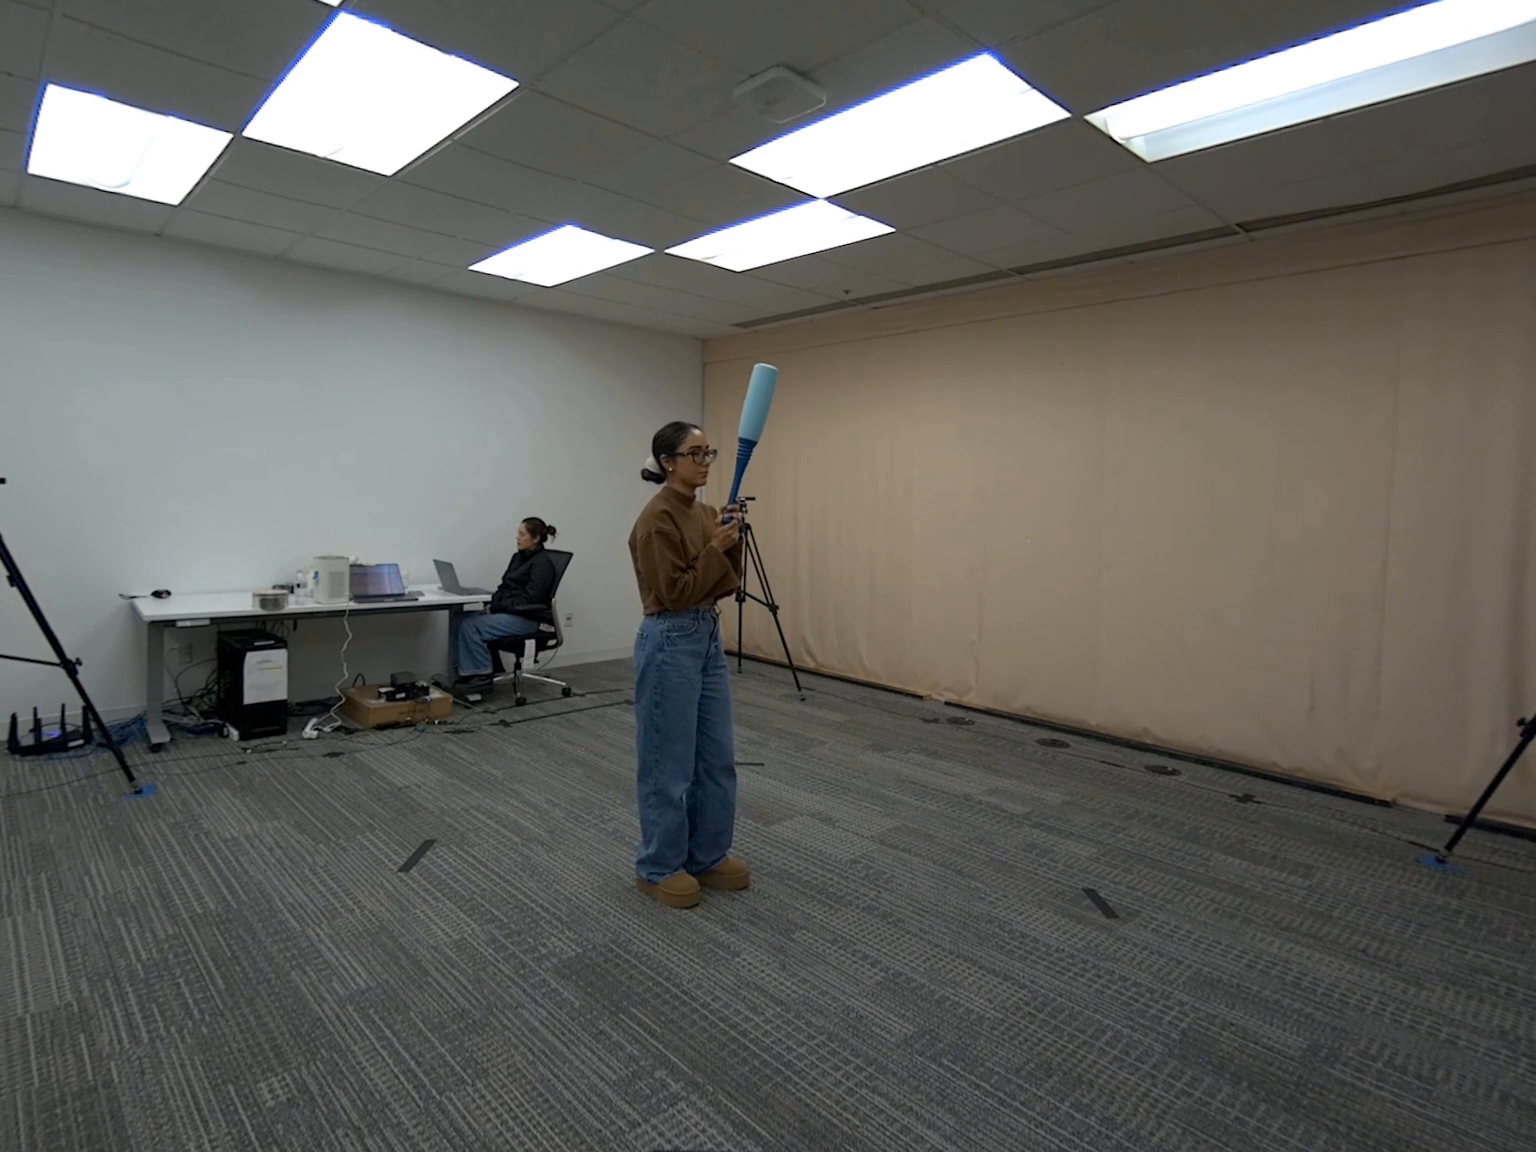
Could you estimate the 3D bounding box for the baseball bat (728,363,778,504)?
[{"bbox_3d":[-0.080,-0.439,2.798,0.089,0.542,0.089,15,5,-3],"label":"baseball bat"}]
